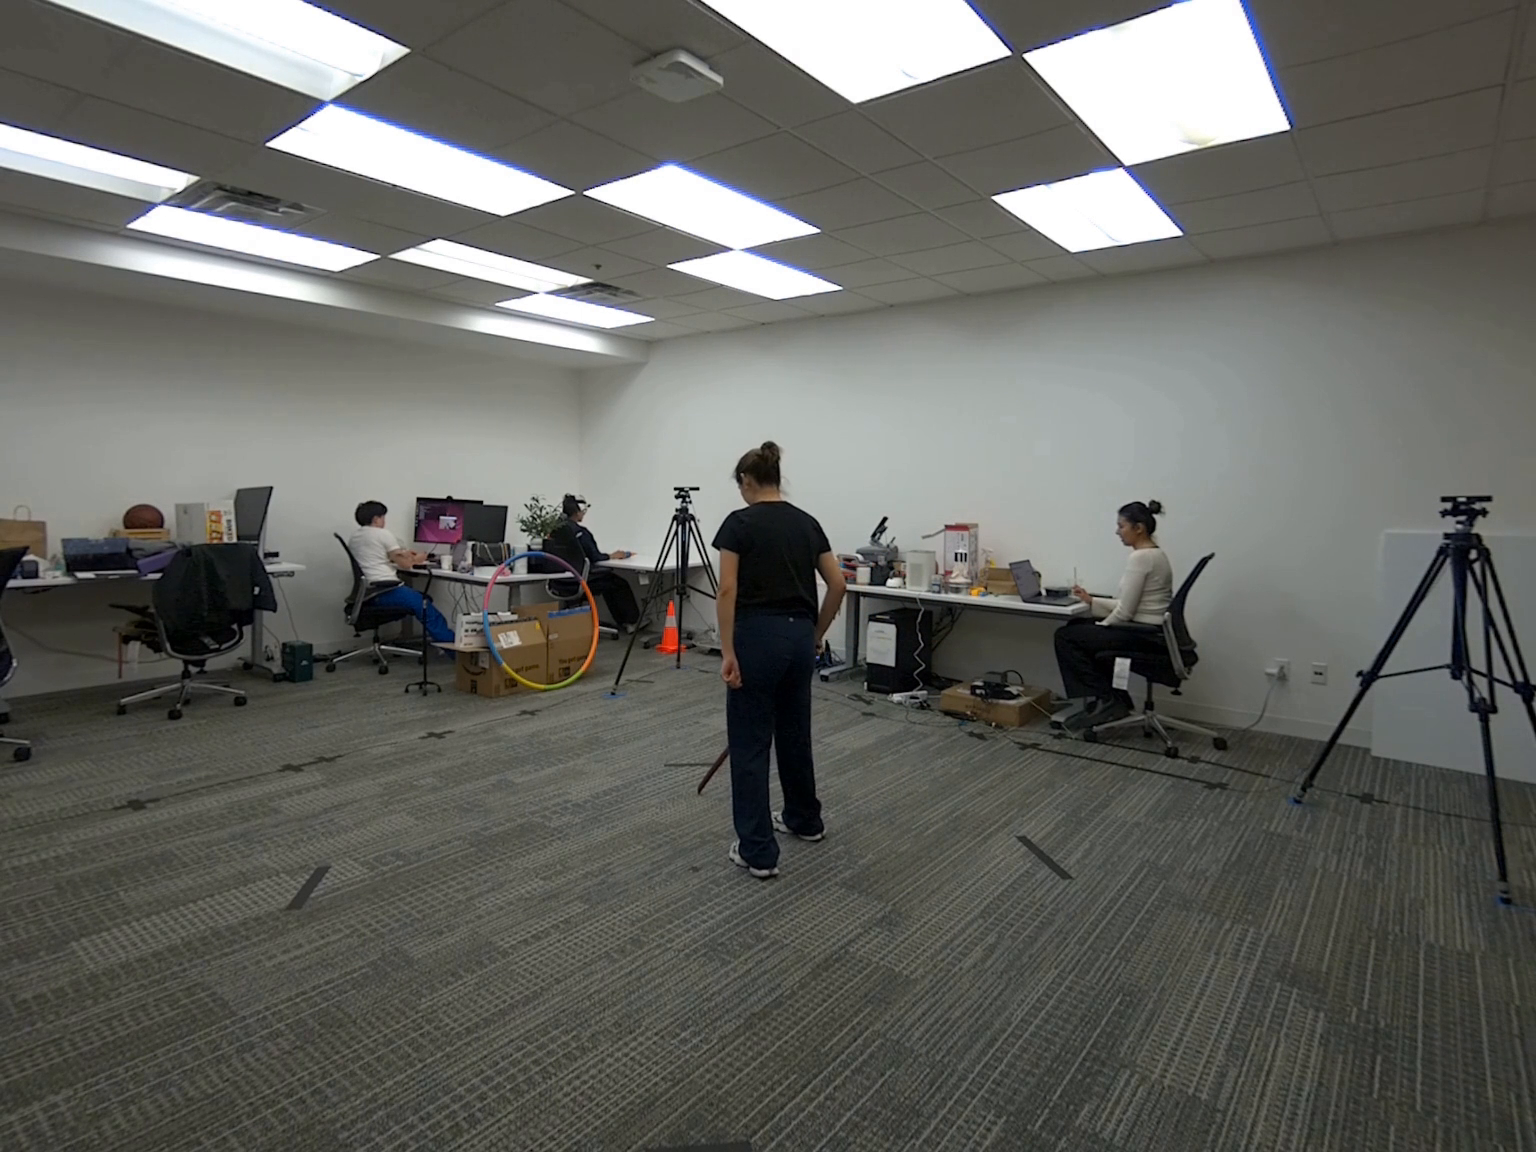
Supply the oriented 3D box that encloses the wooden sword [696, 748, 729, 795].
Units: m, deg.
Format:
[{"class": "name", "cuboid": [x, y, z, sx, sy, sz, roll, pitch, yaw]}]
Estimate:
[{"class": "wooden sword", "cuboid": [-0.048, 0.611, 3.630, 0.024, 1.019, 0.051, 41, 31, 8]}]
